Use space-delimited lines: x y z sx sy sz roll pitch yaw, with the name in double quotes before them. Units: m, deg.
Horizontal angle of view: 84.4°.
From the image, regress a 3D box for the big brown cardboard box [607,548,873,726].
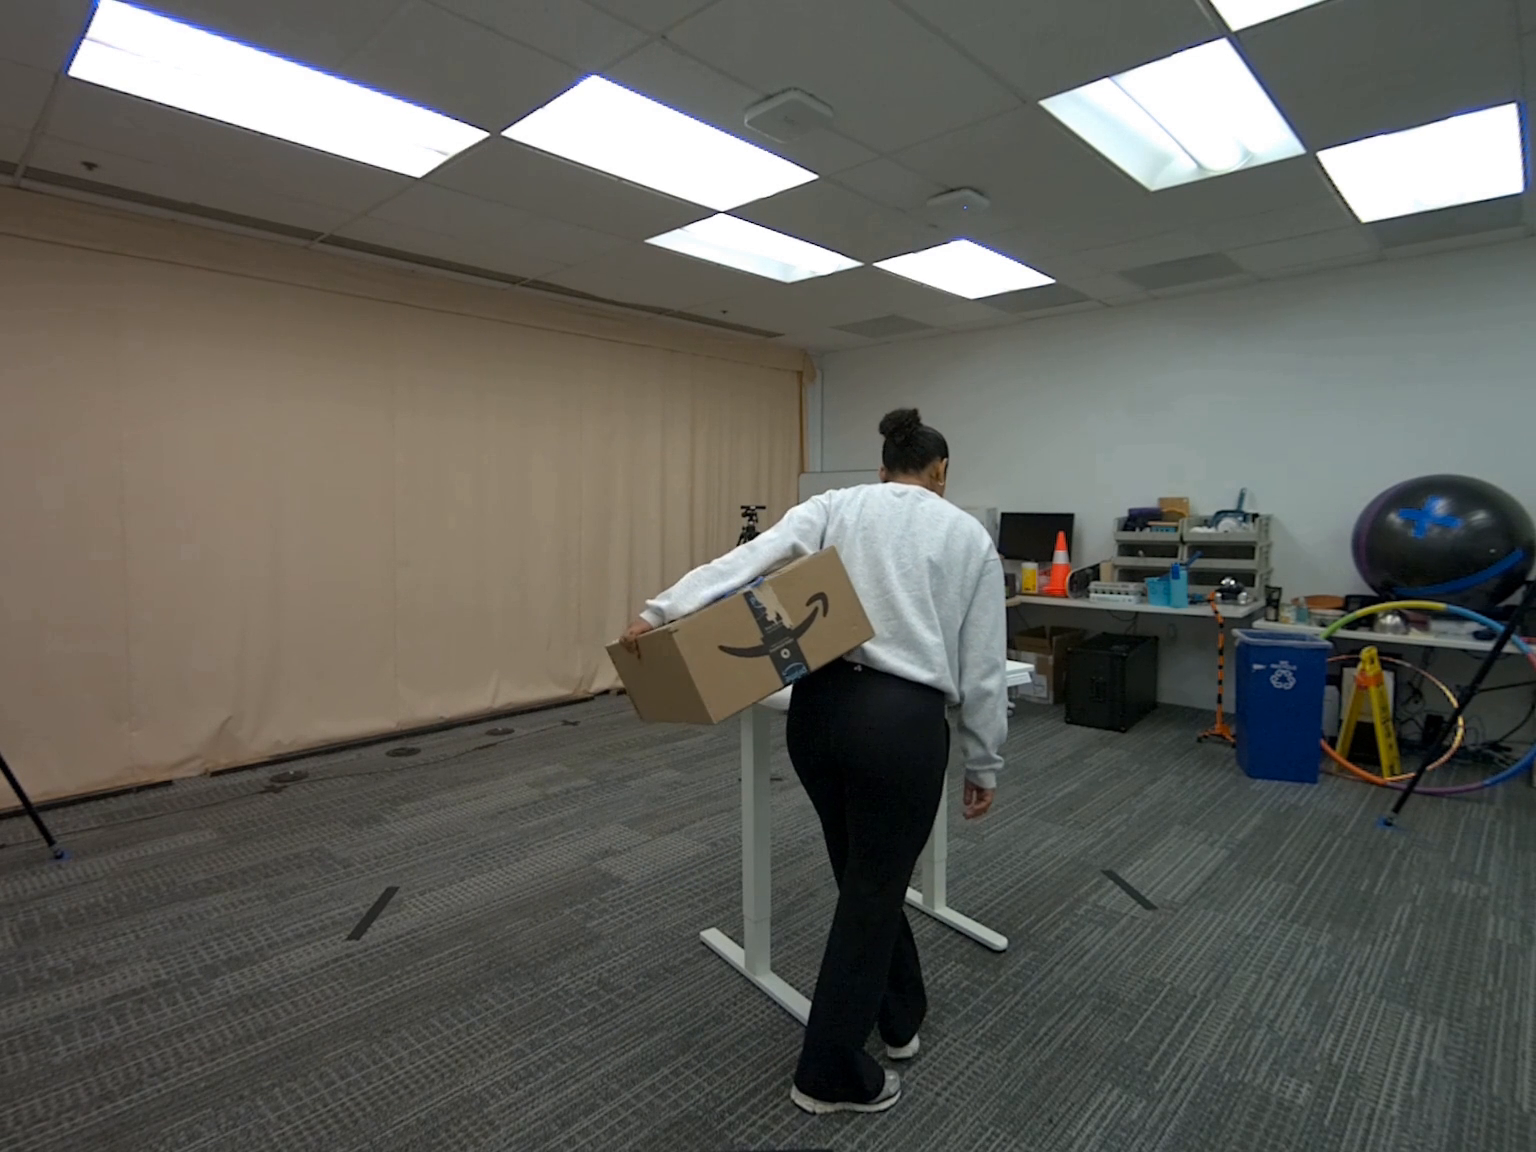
"big brown cardboard box" -0.096 0.157 1.978 0.411 0.233 0.599 -26 3 -24
